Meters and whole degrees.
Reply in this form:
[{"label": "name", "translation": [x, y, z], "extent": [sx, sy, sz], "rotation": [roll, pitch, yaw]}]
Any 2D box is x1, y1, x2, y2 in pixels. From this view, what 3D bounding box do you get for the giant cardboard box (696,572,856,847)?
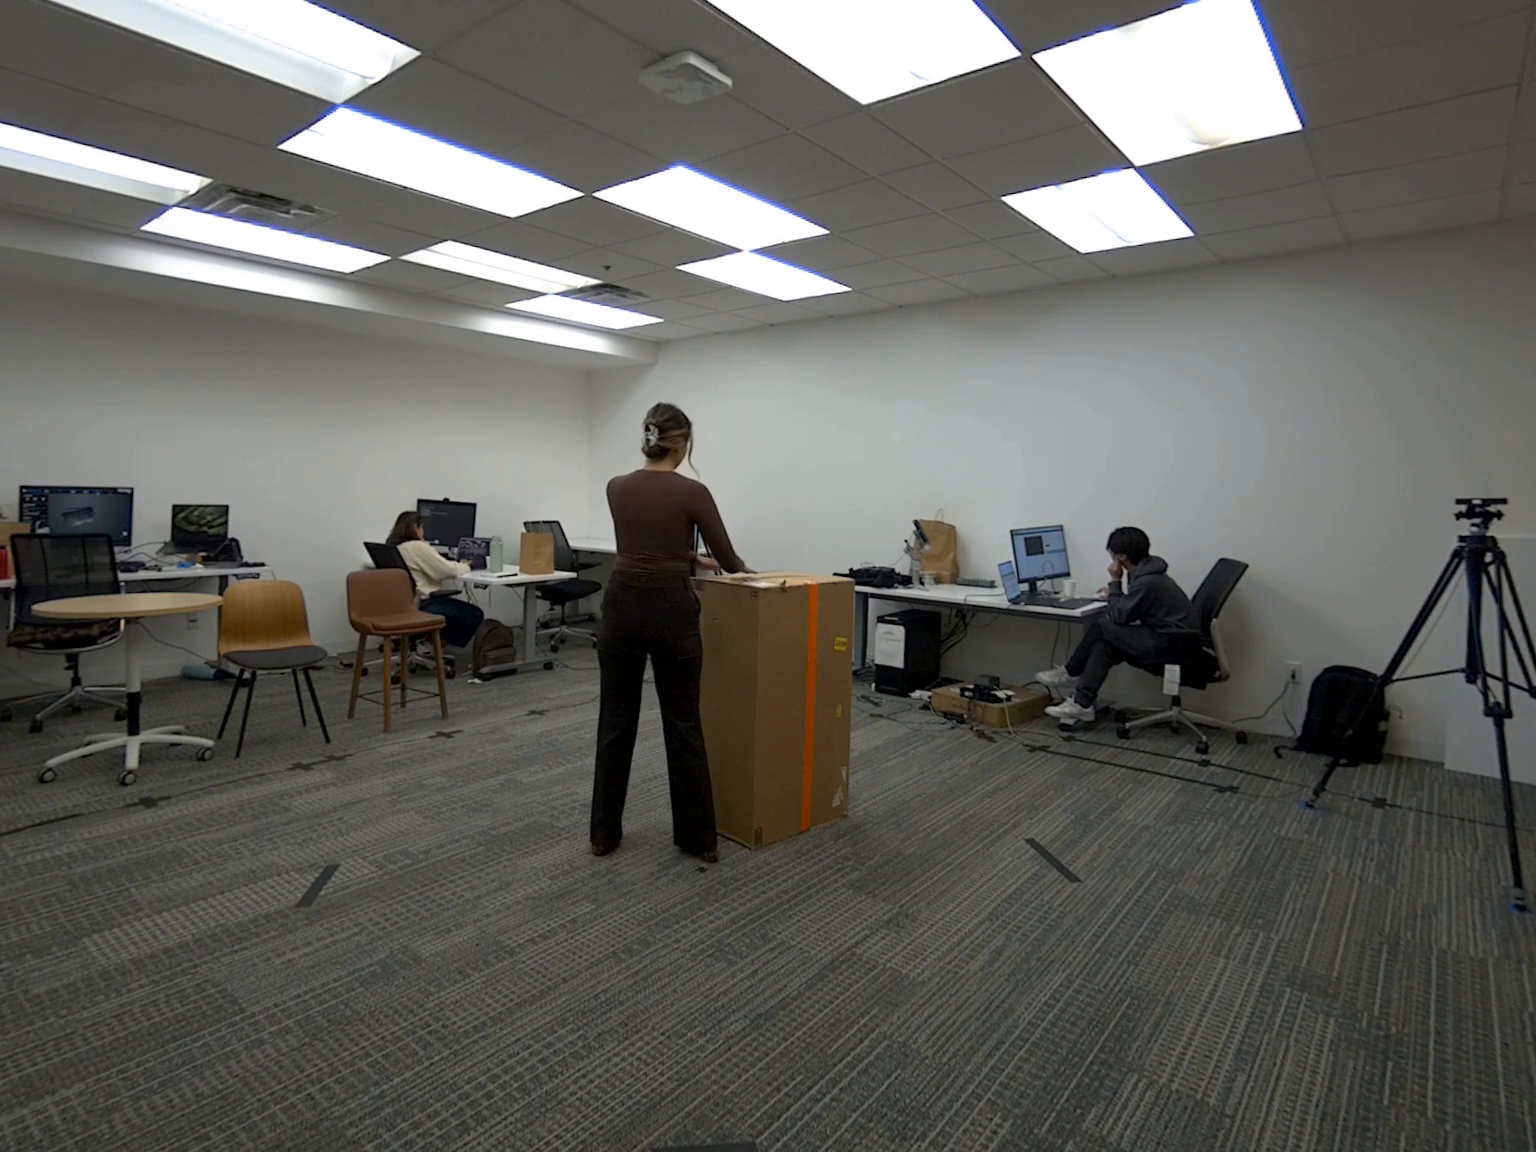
[{"label": "giant cardboard box", "translation": [0.004, 0.513, 3.606], "extent": [0.566, 1.023, 0.462], "rotation": [-2, 5, -42]}]
